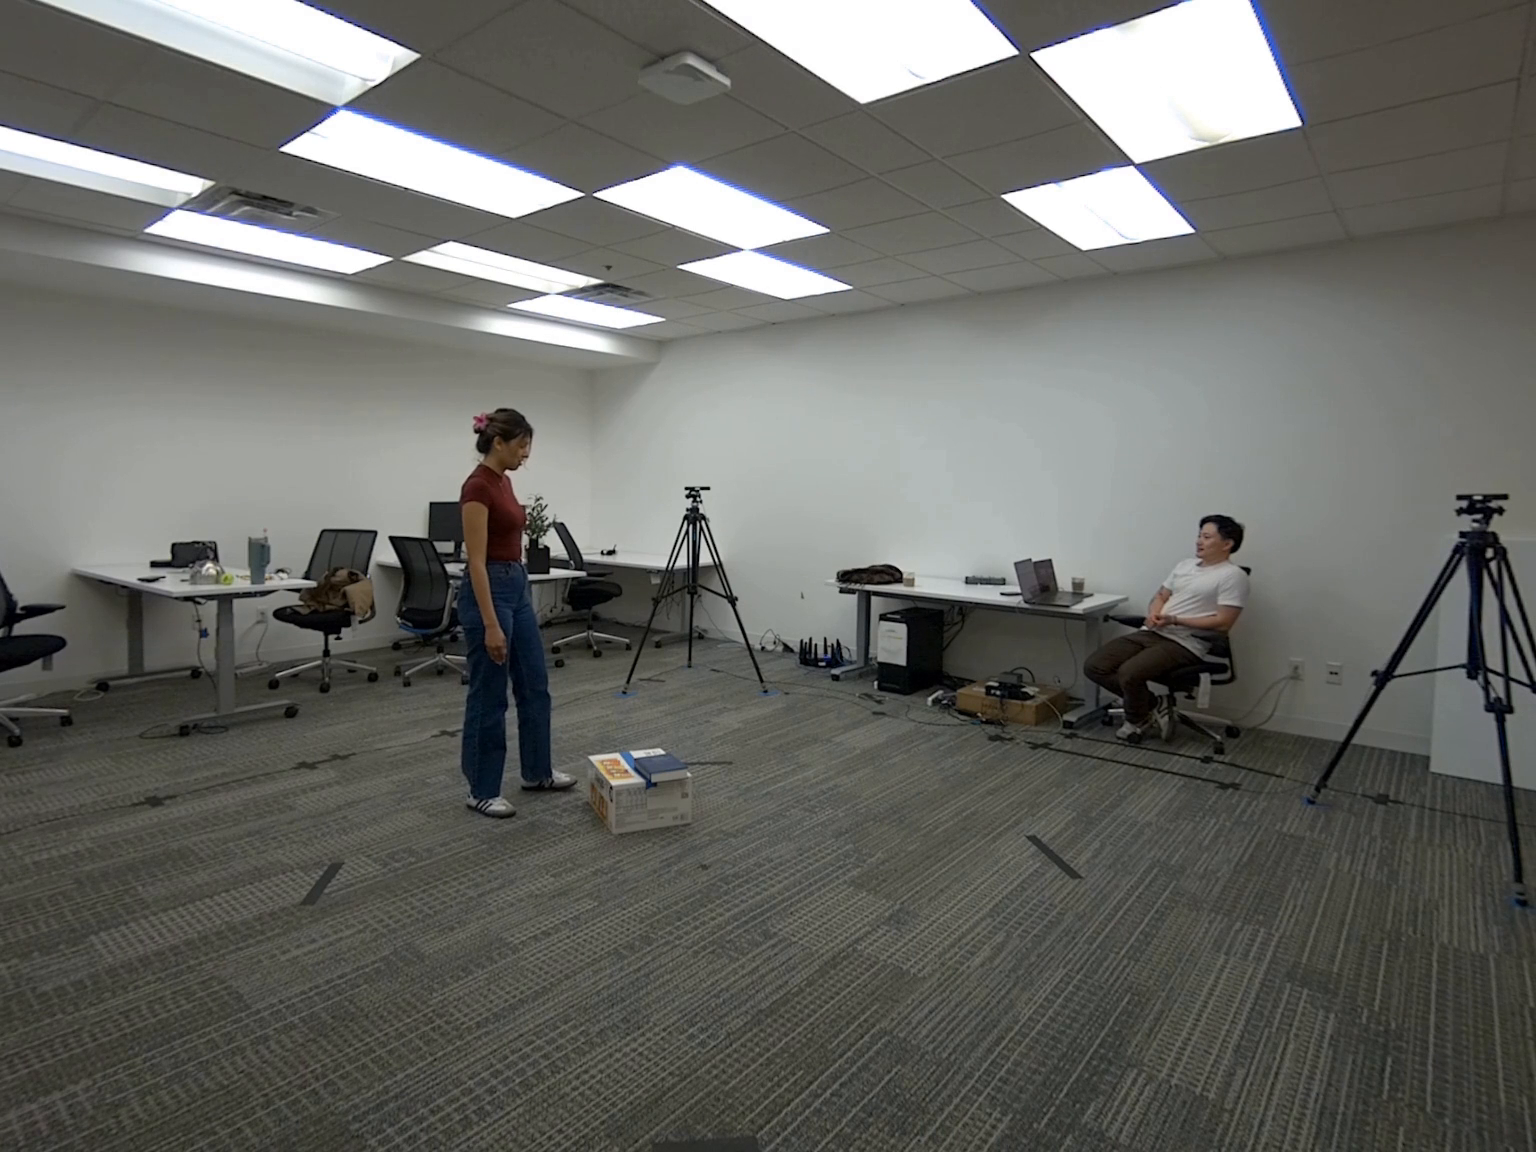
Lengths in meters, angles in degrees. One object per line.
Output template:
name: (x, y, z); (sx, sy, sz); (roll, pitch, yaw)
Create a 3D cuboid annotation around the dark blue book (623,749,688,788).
dark blue book: (-0.463, 0.799, 3.552); (0.160, 0.045, 0.251); (-4, 4, -24)
